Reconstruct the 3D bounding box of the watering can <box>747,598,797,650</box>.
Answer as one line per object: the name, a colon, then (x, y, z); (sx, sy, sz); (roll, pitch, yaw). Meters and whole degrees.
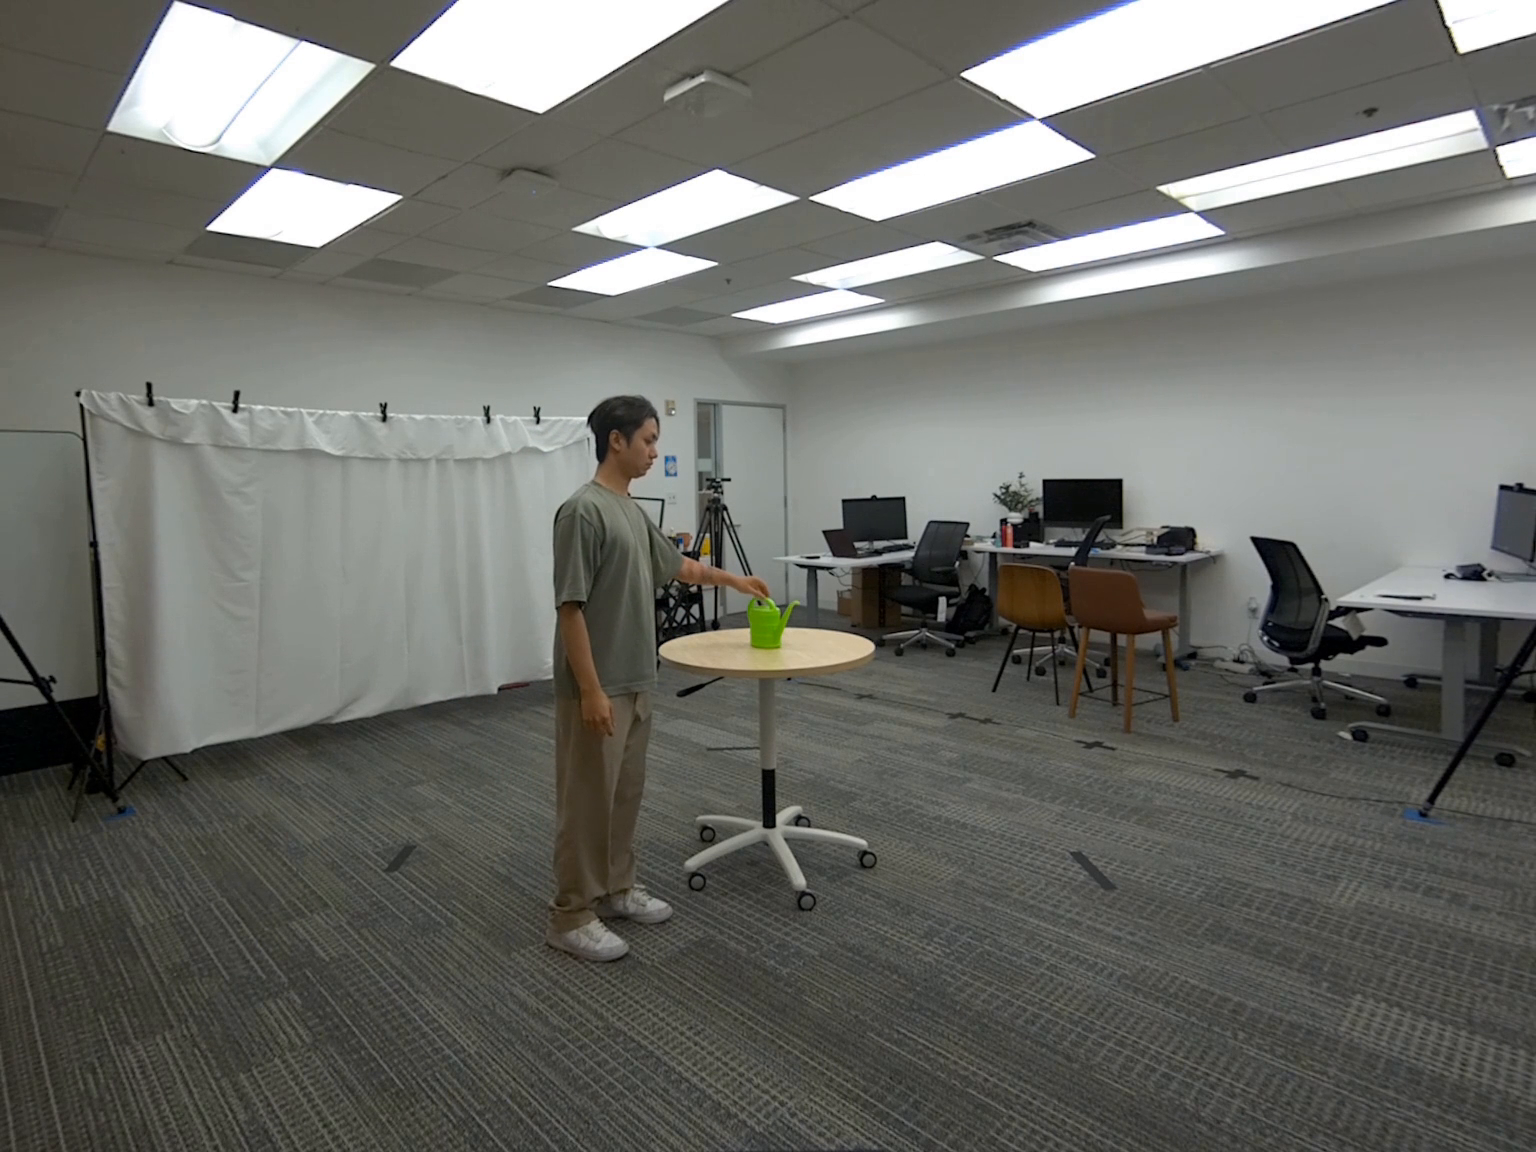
watering can: (0.010, 0.167, 3.005); (0.096, 0.176, 0.284); (-4, 4, -22)
